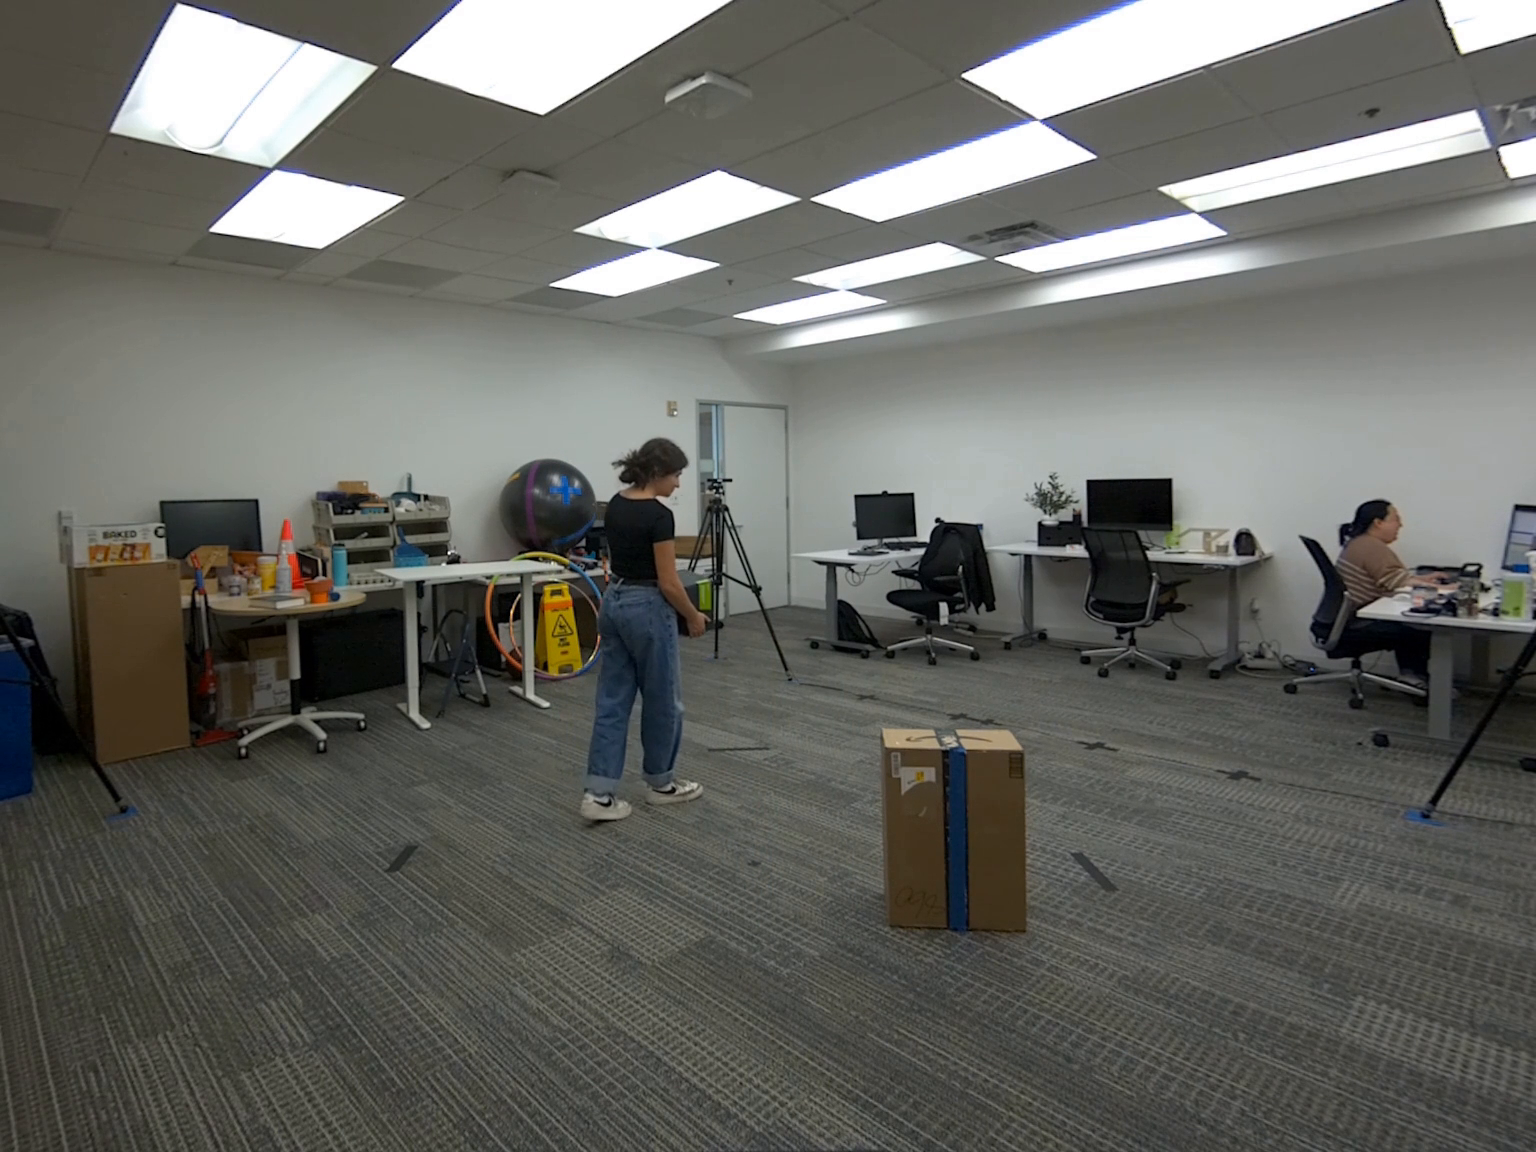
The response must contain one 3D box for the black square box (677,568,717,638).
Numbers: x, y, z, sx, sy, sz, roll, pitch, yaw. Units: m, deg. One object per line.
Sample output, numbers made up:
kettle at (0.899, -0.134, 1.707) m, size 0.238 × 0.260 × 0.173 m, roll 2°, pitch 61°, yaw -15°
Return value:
black square box at (-0.356, 0.112, 3.752) m, size 0.152 × 0.225 × 0.225 m, roll -10°, pitch 19°, yaw -38°
